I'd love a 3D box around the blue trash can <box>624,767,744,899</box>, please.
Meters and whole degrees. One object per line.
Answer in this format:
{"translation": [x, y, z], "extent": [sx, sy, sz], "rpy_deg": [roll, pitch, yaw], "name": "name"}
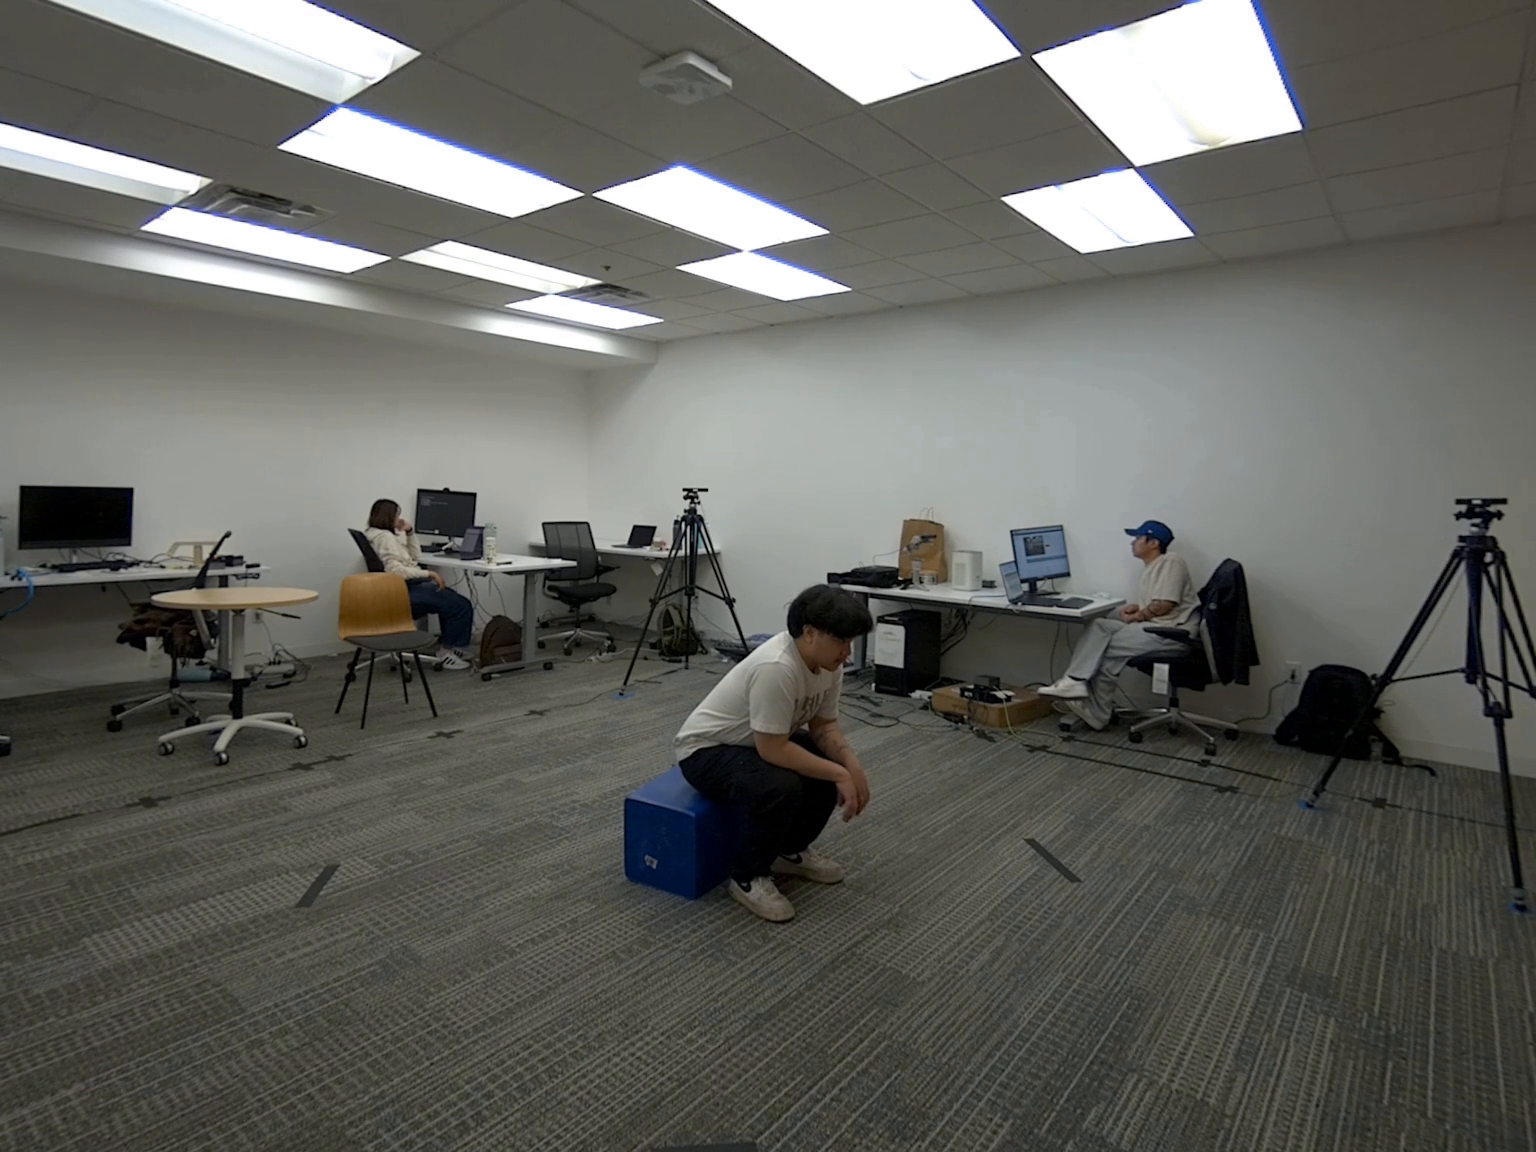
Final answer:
{"translation": [-0.220, 0.892, 3.230], "extent": [0.389, 0.371, 0.698], "rpy_deg": [5, 10, 29], "name": "blue trash can"}
